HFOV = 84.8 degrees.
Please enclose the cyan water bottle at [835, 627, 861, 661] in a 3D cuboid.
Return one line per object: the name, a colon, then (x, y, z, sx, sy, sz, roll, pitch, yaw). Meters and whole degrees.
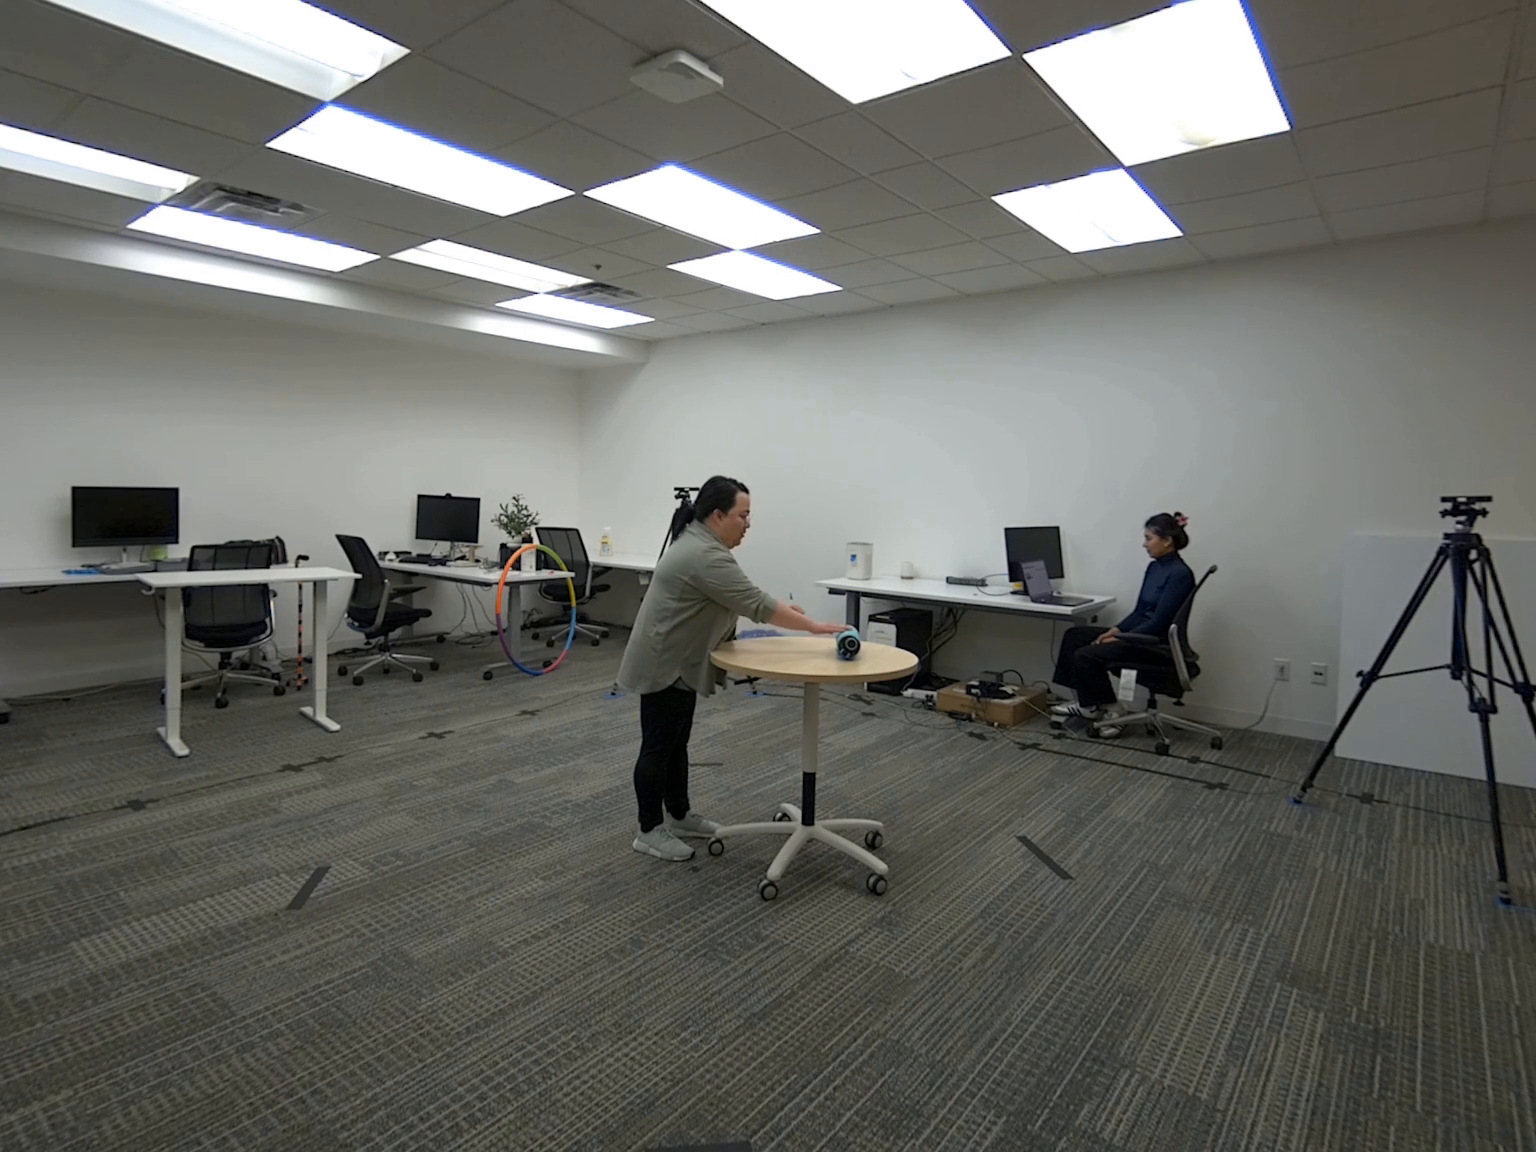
cyan water bottle: (0.282, 0.244, 3.152, 0.092, 0.092, 0.283, 1, 5, 1)
